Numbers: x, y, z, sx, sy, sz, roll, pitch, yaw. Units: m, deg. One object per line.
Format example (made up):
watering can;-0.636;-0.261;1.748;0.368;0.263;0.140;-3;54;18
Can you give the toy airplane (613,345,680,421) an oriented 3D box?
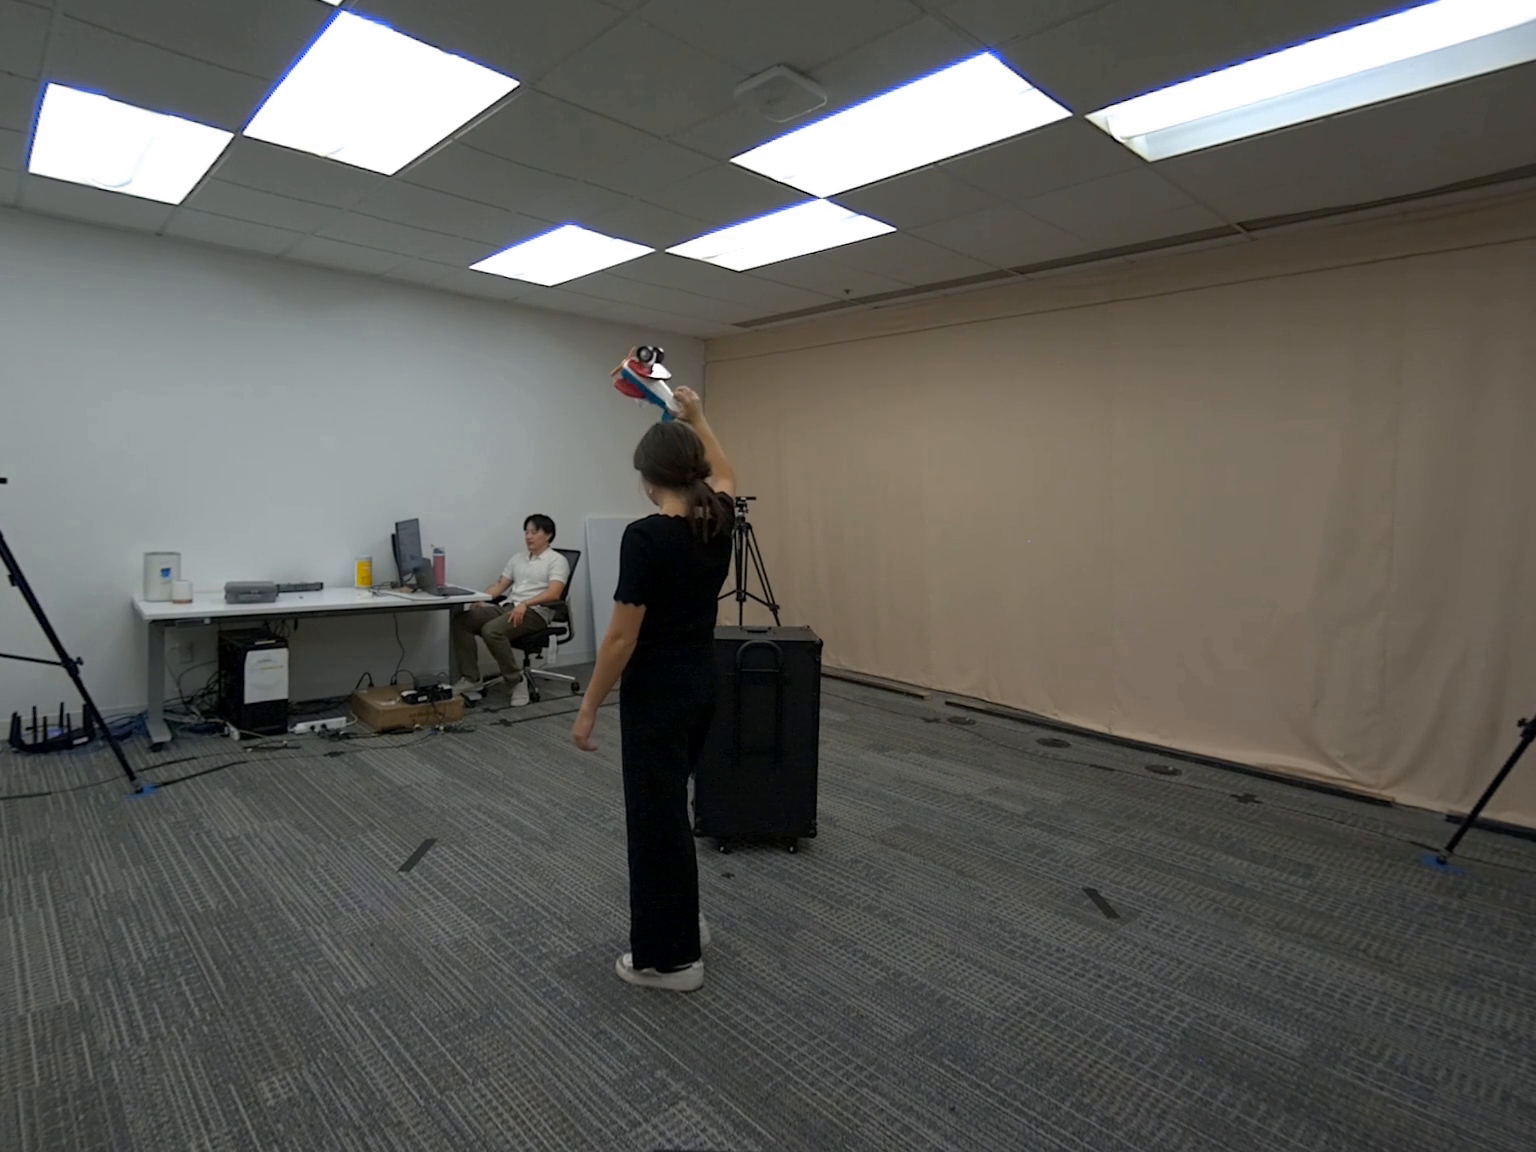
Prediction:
toy airplane;-0.382;-0.617;2.734;0.157;0.266;0.244;-37;-31;21
